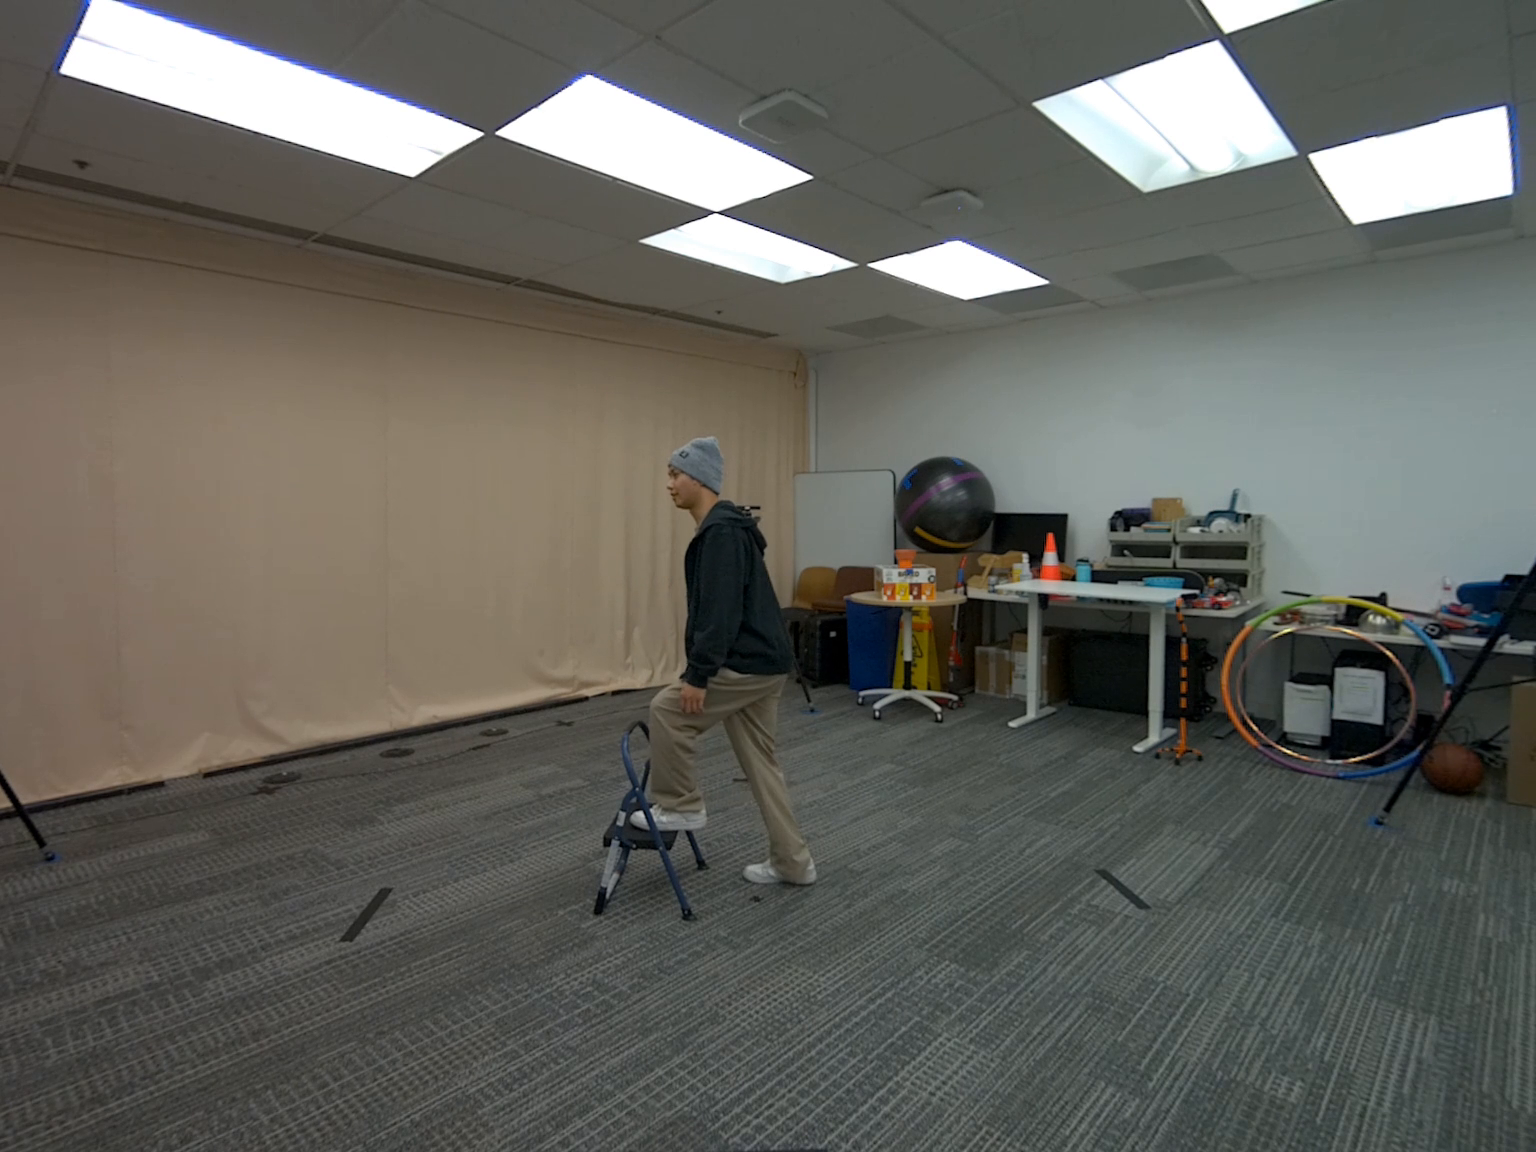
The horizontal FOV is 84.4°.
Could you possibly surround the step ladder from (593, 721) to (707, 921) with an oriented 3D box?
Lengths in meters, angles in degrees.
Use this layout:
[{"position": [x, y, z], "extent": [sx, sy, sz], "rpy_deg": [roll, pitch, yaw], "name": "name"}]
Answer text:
[{"position": [-0.415, 0.846, 3.042], "extent": [0.351, 0.605, 0.430], "rpy_deg": [0, 4, 3], "name": "step ladder"}]
